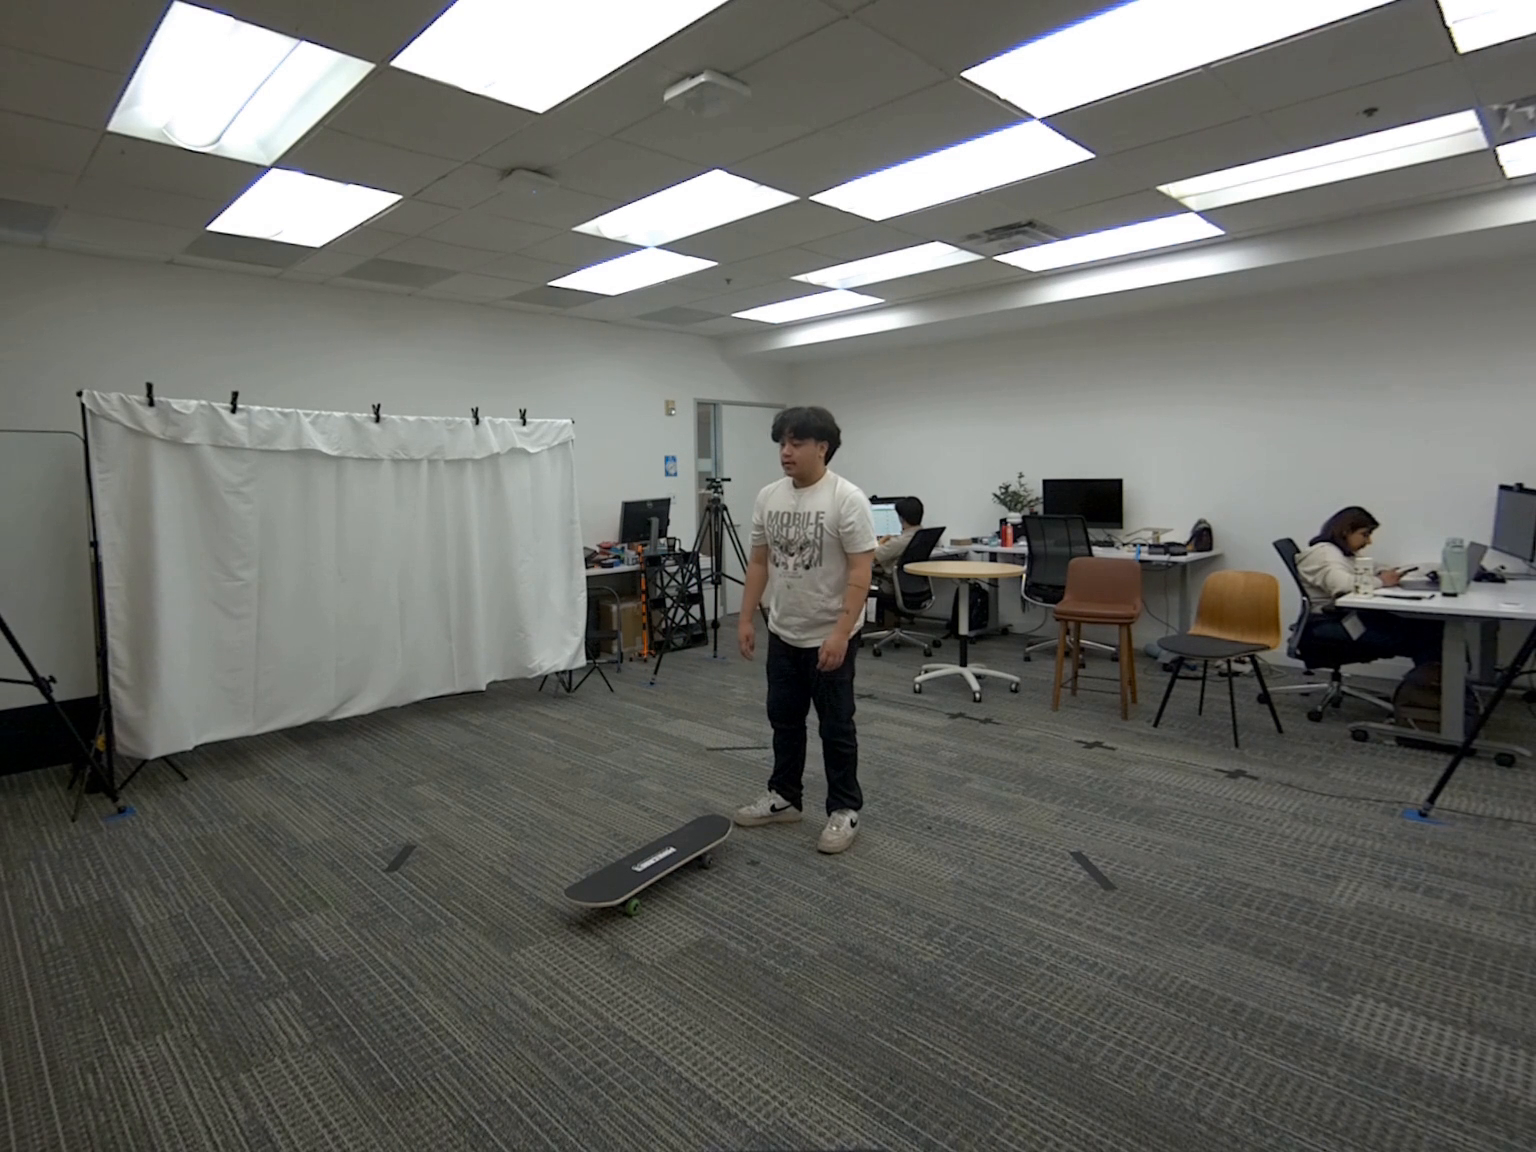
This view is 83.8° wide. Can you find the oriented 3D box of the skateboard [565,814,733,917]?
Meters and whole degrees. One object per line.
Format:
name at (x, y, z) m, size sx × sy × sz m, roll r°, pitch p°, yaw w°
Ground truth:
skateboard at (-0.390, 1.009, 2.957) m, size 0.199 × 0.110 × 0.767 m, roll 3°, pitch 8°, yaw 33°
